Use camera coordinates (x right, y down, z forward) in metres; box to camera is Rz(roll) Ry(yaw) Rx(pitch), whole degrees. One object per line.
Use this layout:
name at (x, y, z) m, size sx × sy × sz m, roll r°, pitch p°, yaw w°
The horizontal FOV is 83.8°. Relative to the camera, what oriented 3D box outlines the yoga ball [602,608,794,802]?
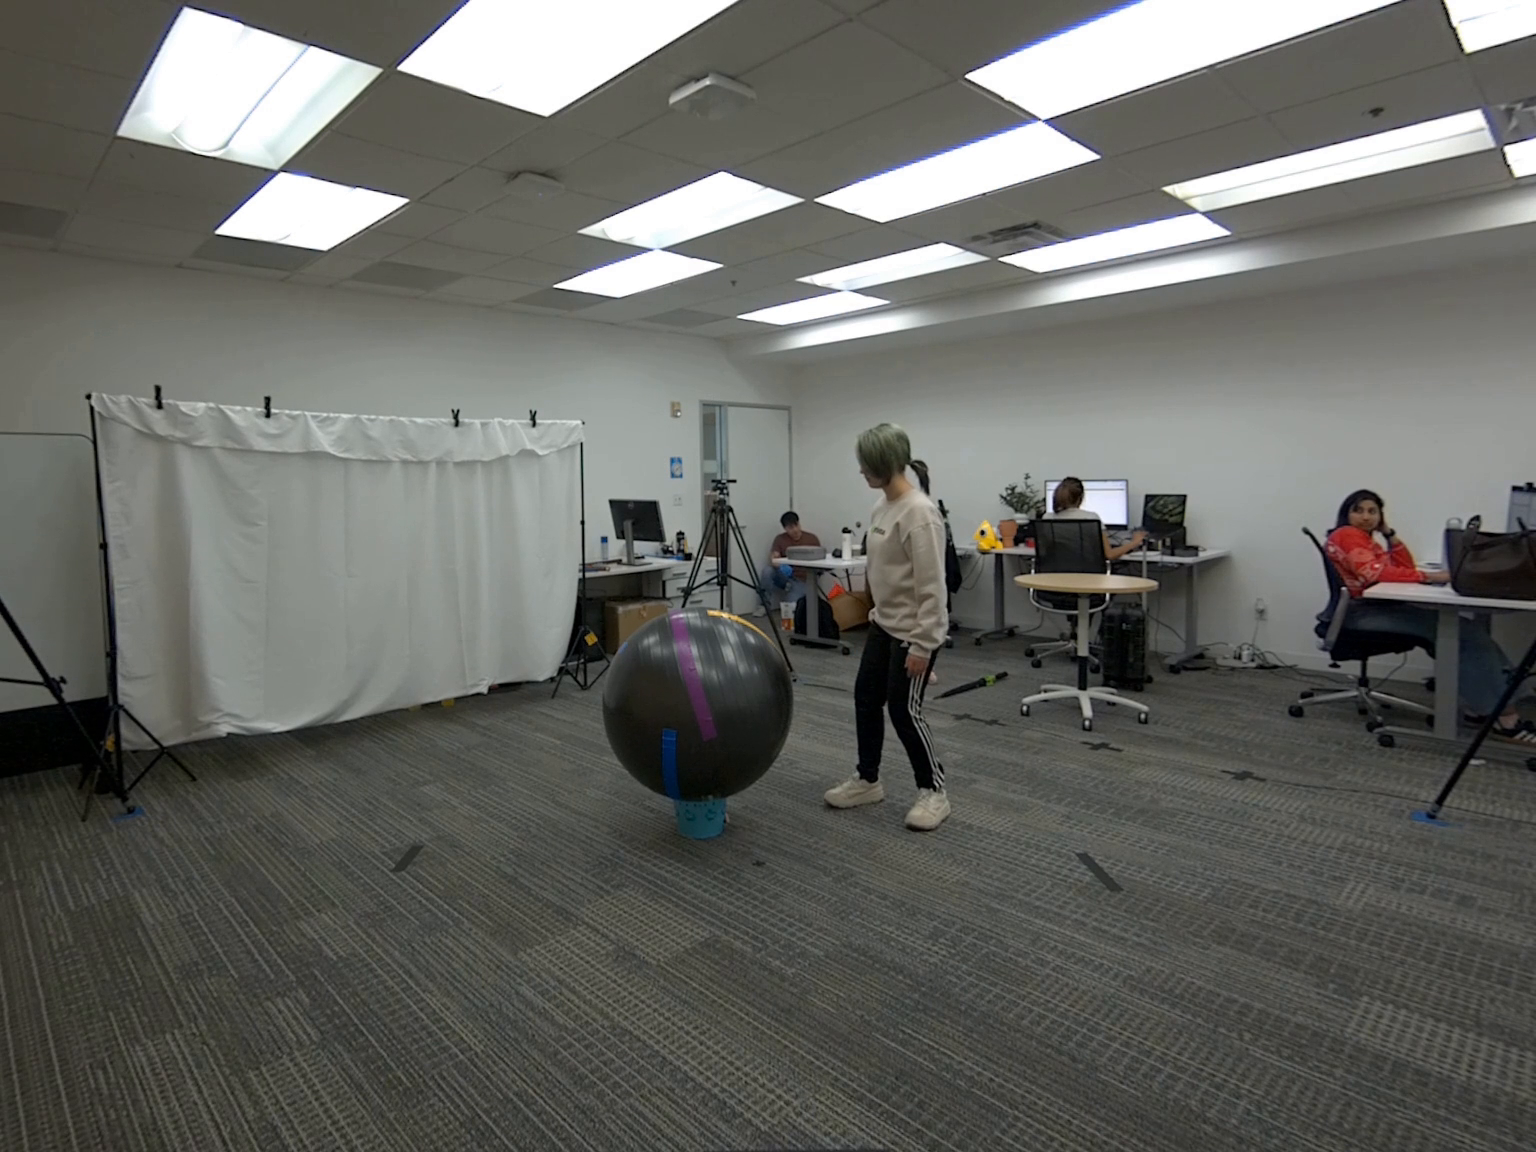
yoga ball at (-0.278, 0.505, 3.401) m, size 0.757 × 0.755 × 0.762 m, roll -1°, pitch 5°, yaw -2°
